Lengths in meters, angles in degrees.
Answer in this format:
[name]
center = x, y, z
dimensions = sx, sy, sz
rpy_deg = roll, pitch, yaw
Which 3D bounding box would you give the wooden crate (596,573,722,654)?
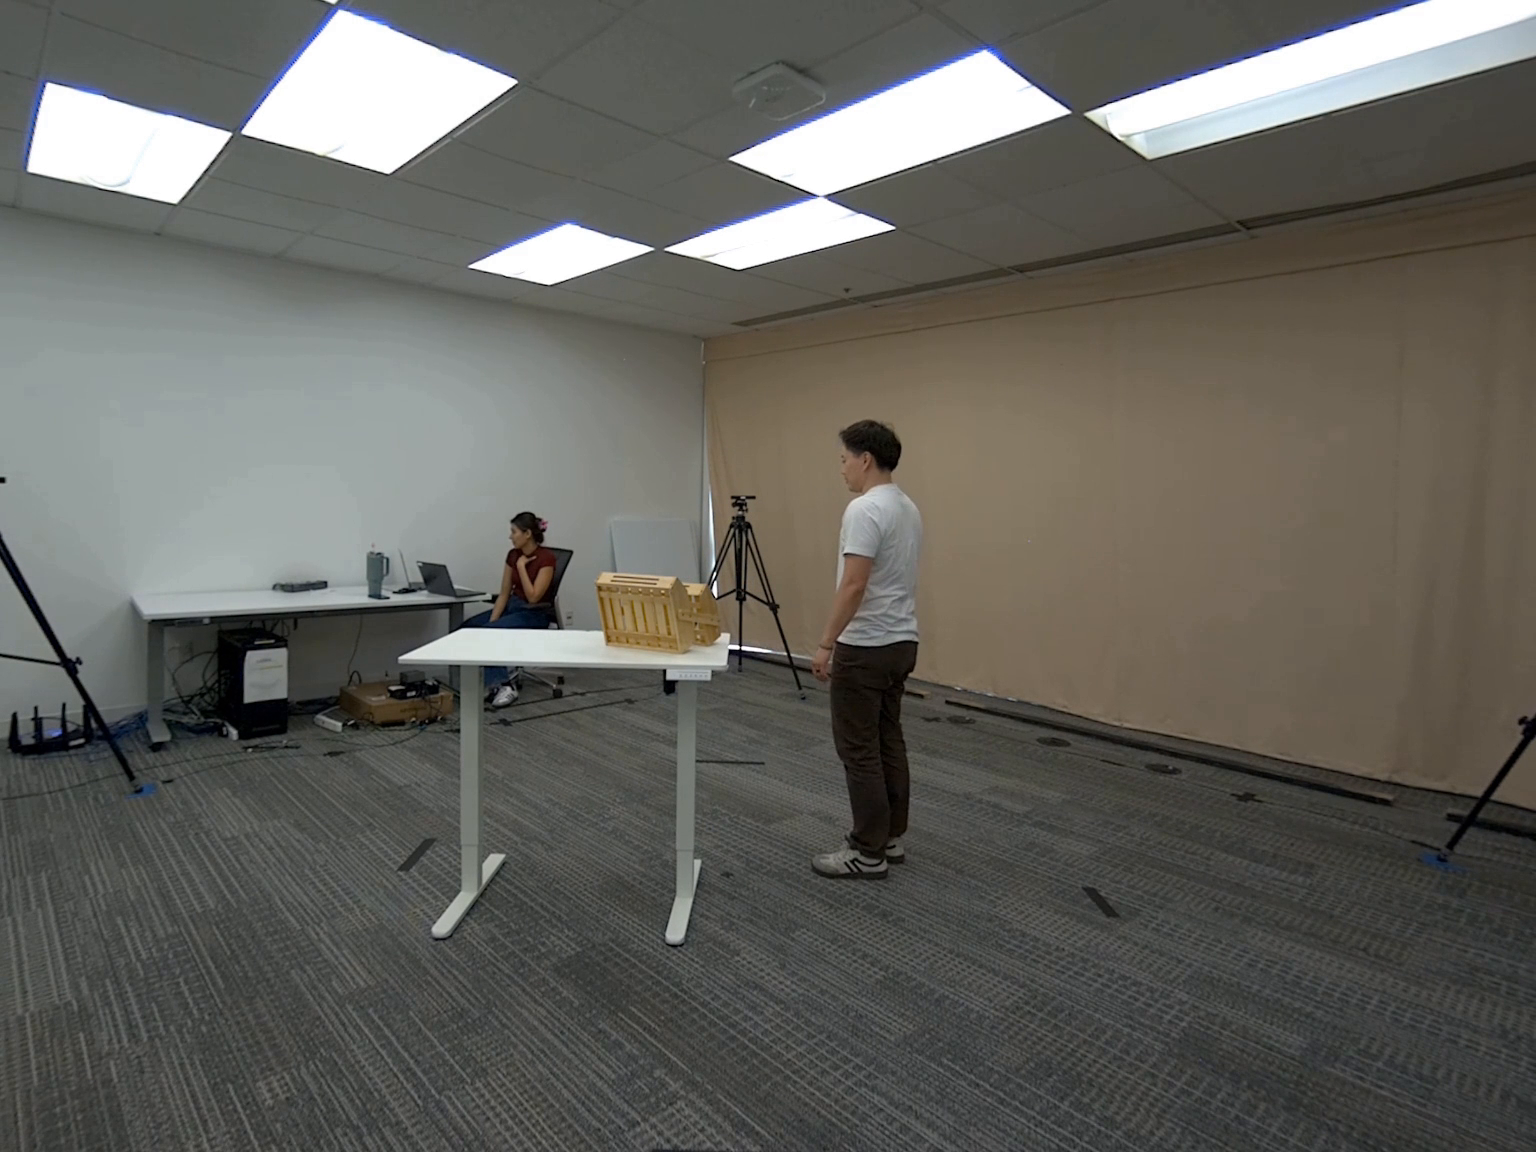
[wooden crate]
center = -0.374, 0.104, 2.847
dimensions = 0.331, 0.297, 0.272
rpy_deg = 3, 22, 27
